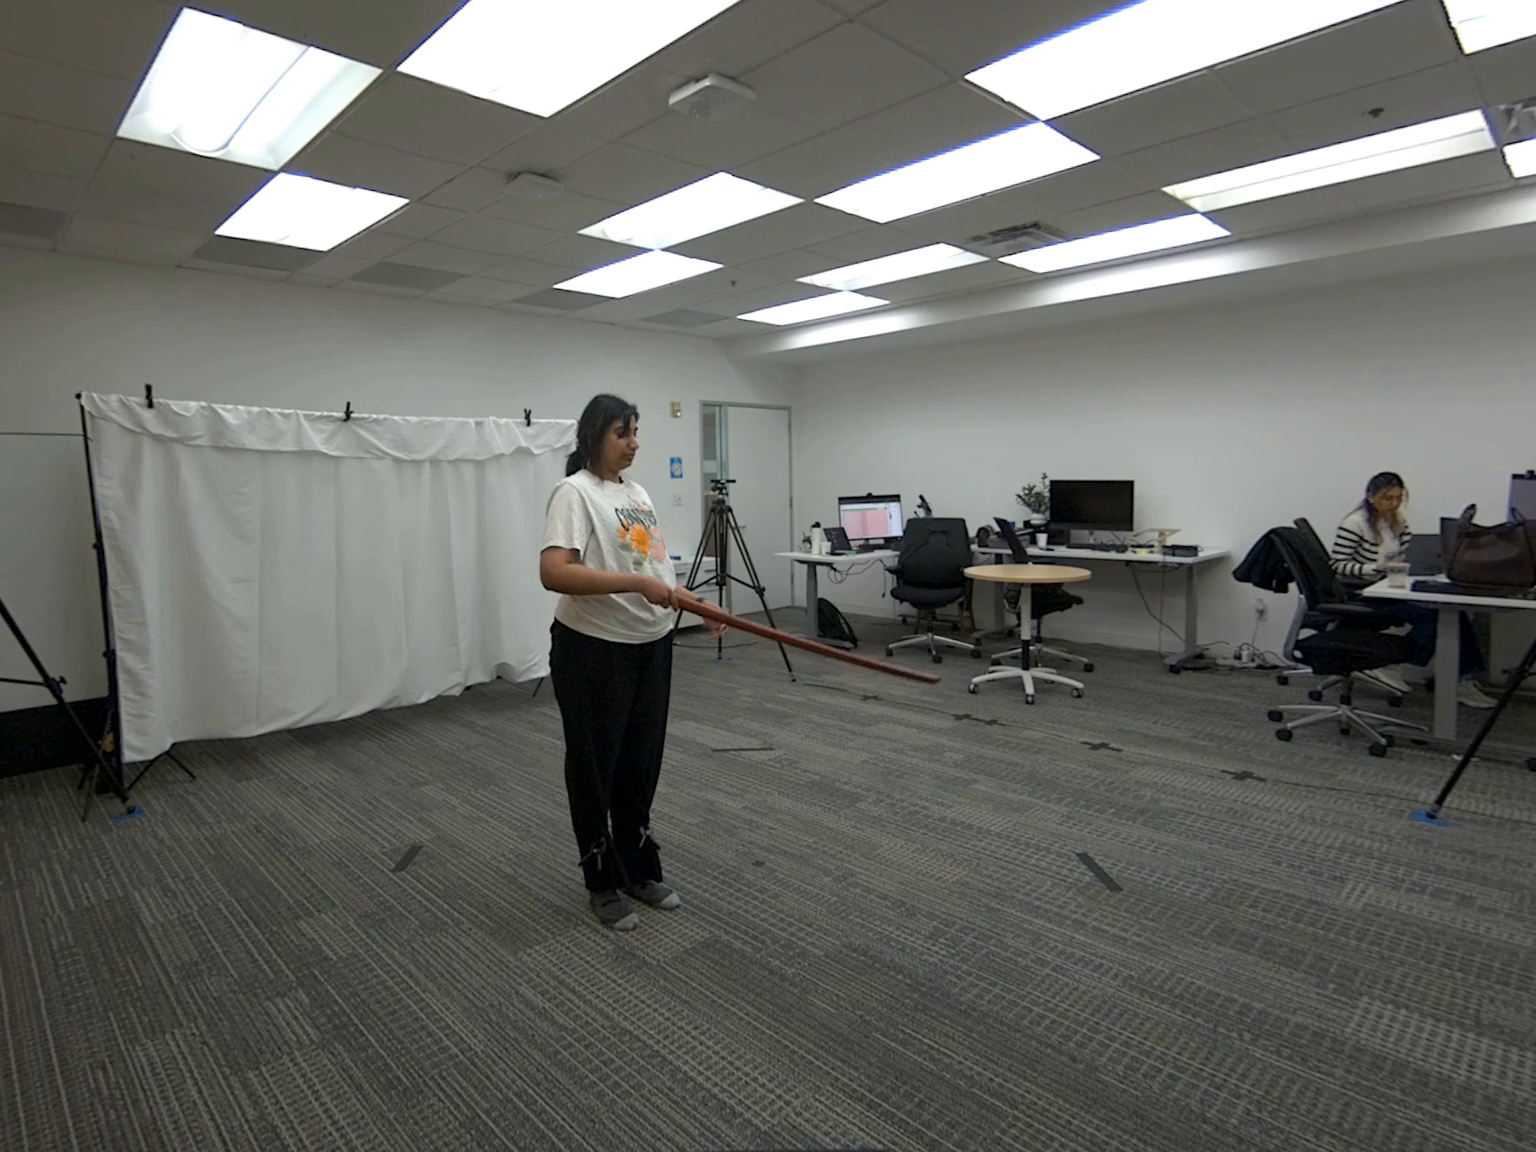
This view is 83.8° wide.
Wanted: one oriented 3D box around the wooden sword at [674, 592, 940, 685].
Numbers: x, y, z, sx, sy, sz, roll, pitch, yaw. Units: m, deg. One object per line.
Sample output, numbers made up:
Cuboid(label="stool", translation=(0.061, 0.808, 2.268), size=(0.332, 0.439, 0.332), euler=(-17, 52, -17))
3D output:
Cuboid(label="wooden sword", translation=(0.077, 0.229, 2.699), size=(1.015, 0.024, 0.052), euler=(15, 38, -8))
